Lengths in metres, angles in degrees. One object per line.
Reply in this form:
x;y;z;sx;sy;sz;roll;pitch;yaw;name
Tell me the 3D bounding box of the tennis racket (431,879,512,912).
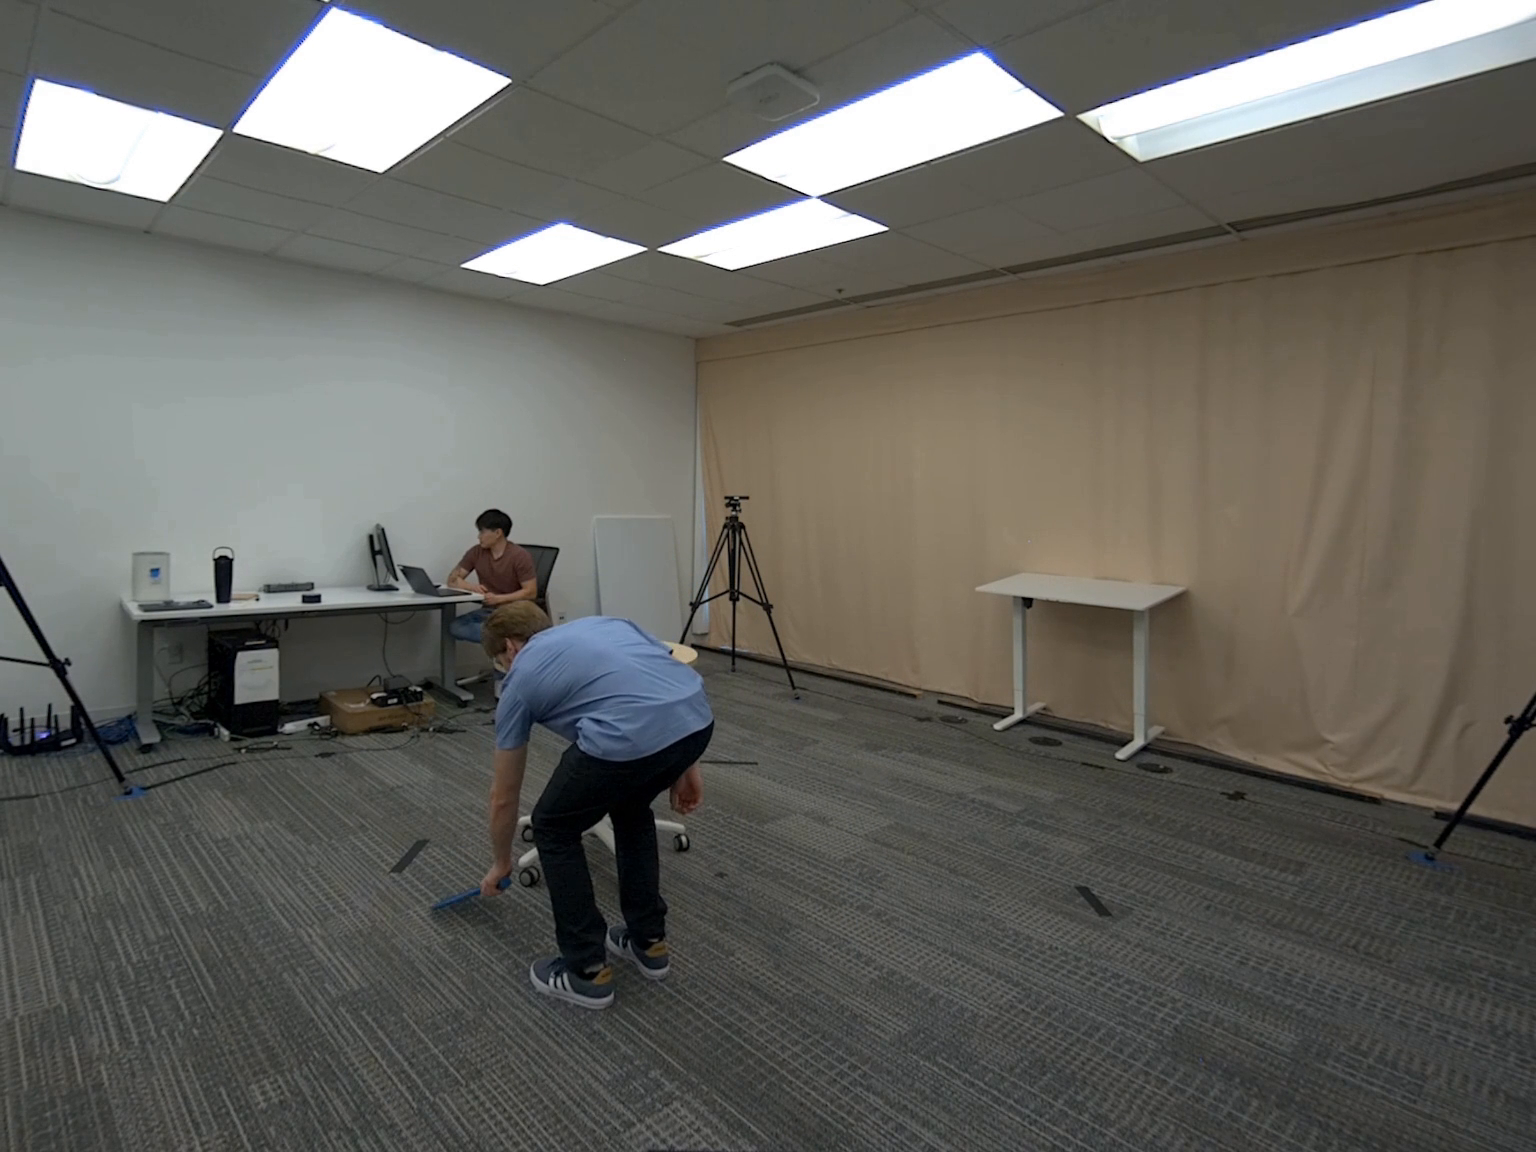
-0.954;1.031;2.717;0.437;0.032;0.209;-27;-11;41;tennis racket
